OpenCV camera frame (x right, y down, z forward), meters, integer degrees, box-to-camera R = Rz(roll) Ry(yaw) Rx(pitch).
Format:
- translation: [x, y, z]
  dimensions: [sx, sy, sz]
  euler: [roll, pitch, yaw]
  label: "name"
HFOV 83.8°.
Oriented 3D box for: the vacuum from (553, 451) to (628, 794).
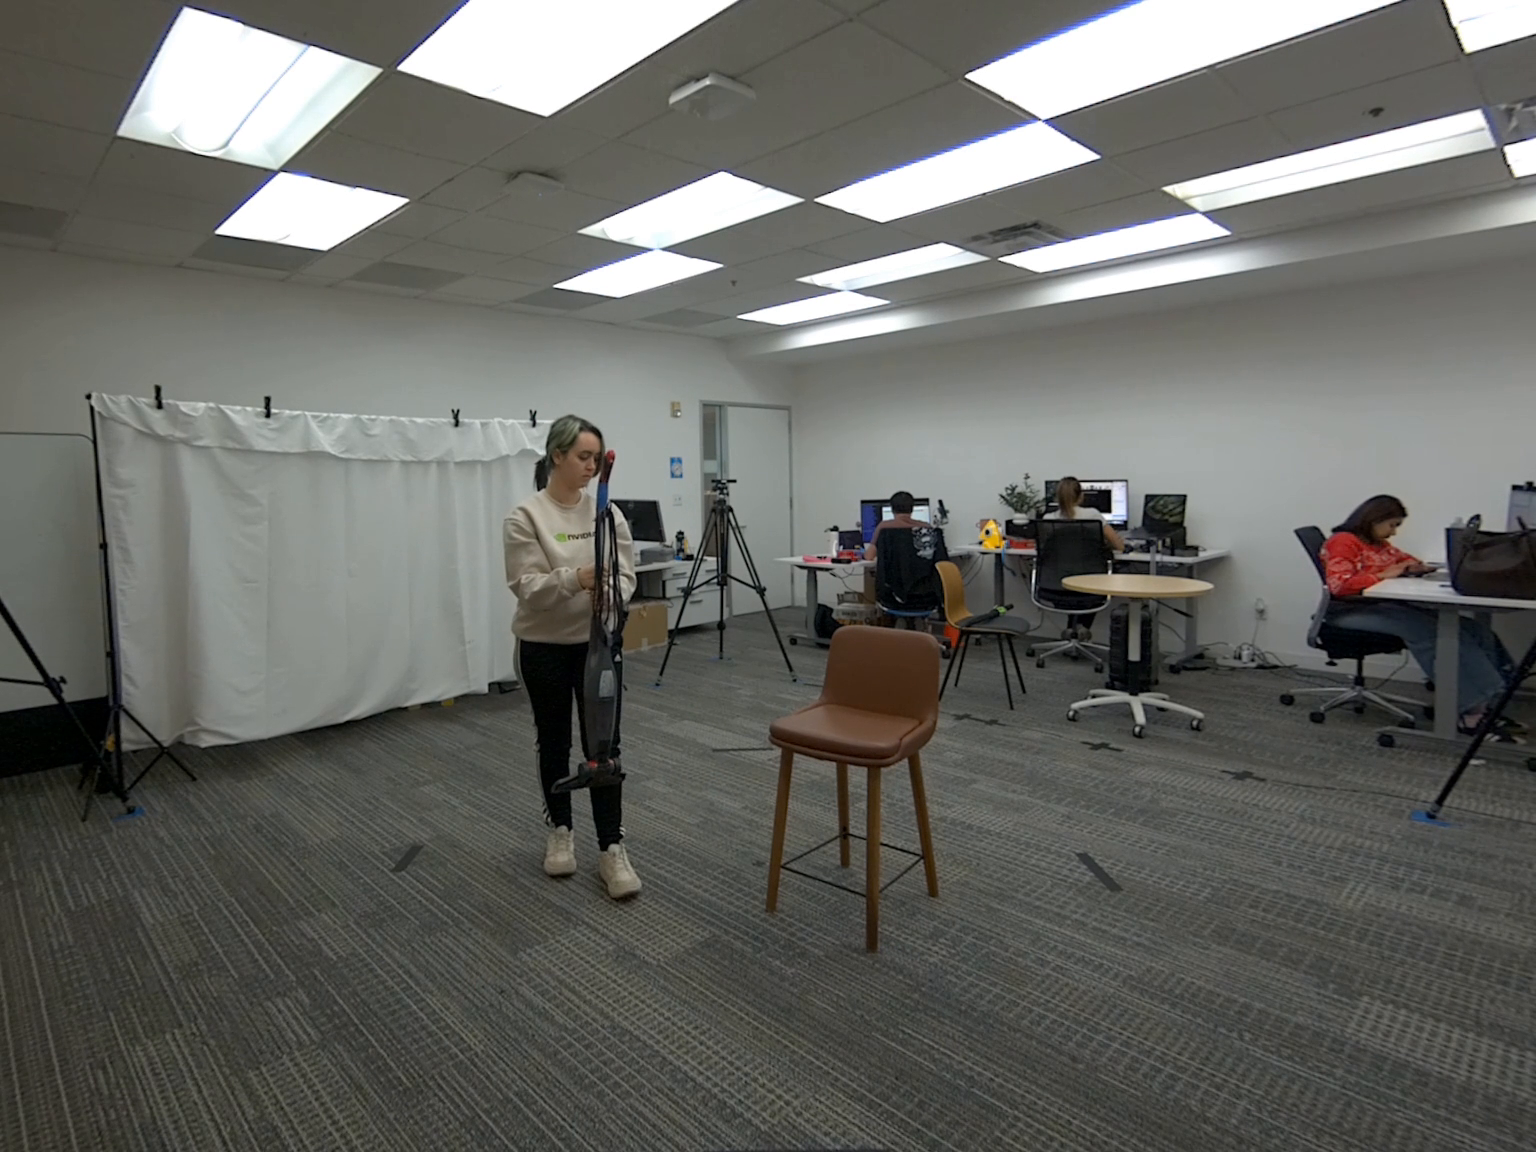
- translation: [-0.527, 0.125, 2.745]
  dimensions: [0.246, 1.047, 0.148]
  euler: [2, 3, -33]
  label: "vacuum"
